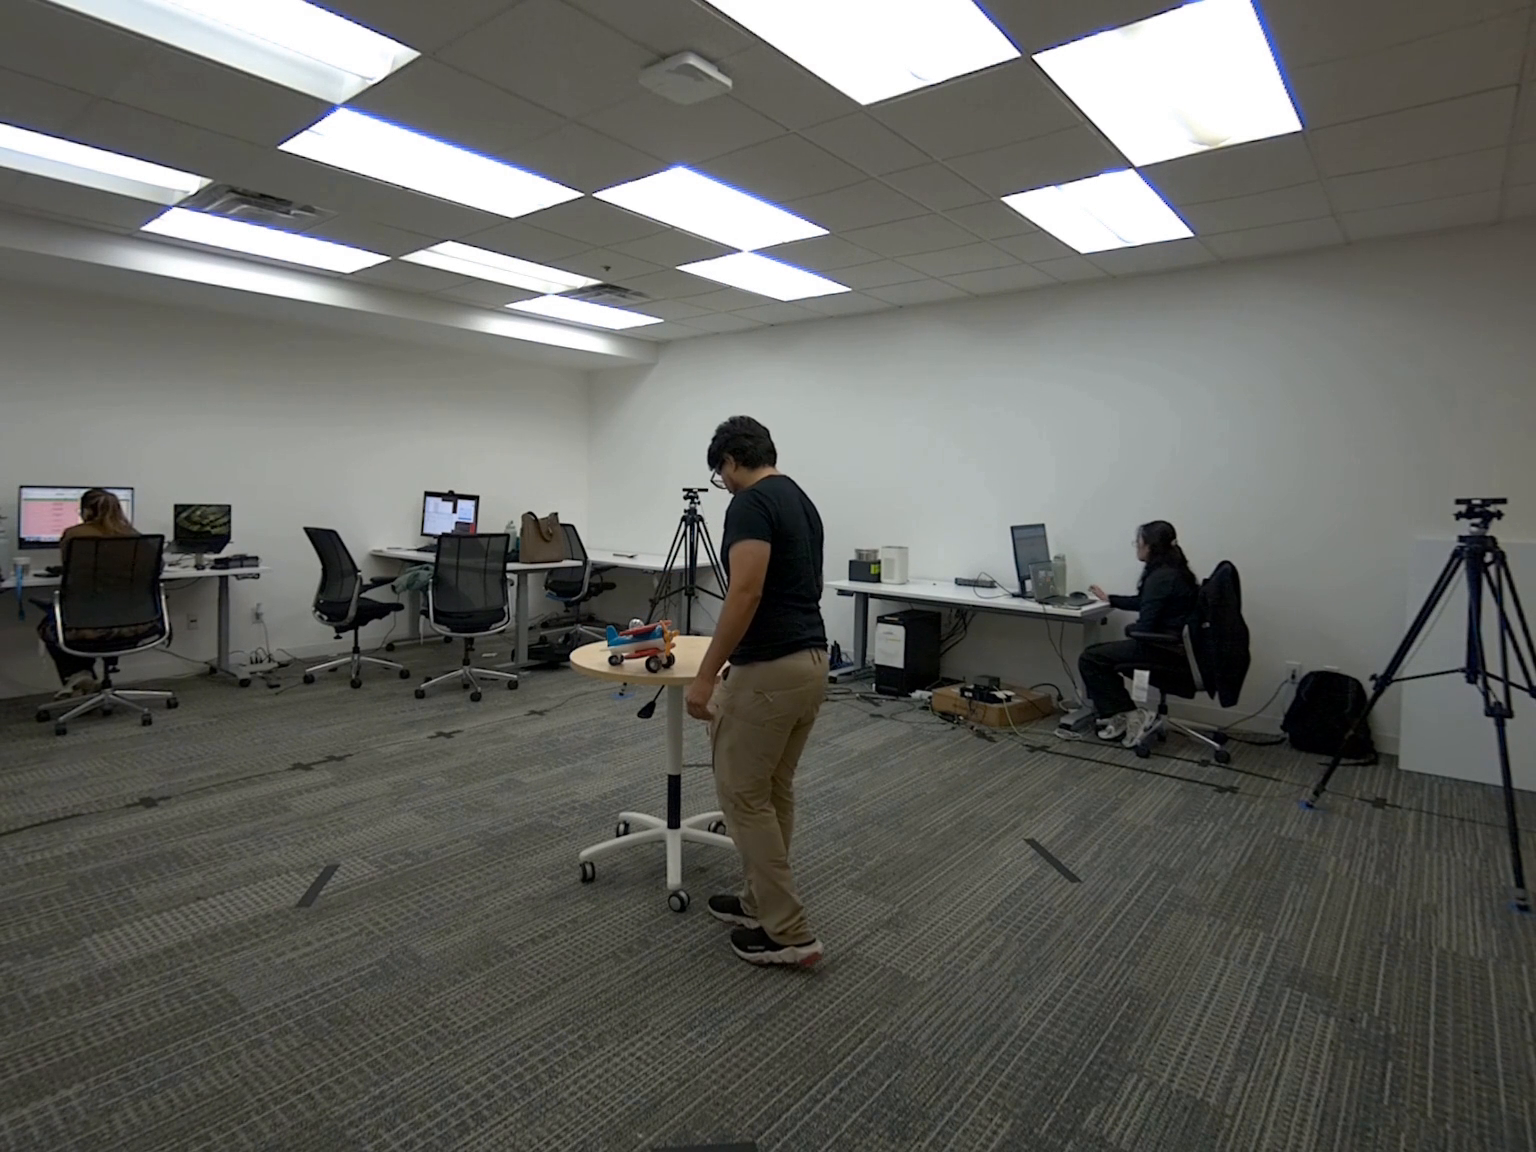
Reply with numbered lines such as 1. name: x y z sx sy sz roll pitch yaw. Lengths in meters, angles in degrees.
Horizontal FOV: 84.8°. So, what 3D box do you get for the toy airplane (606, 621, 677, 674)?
1. toy airplane: -0.449 0.232 2.849 0.258 0.156 0.253 2 4 -4
